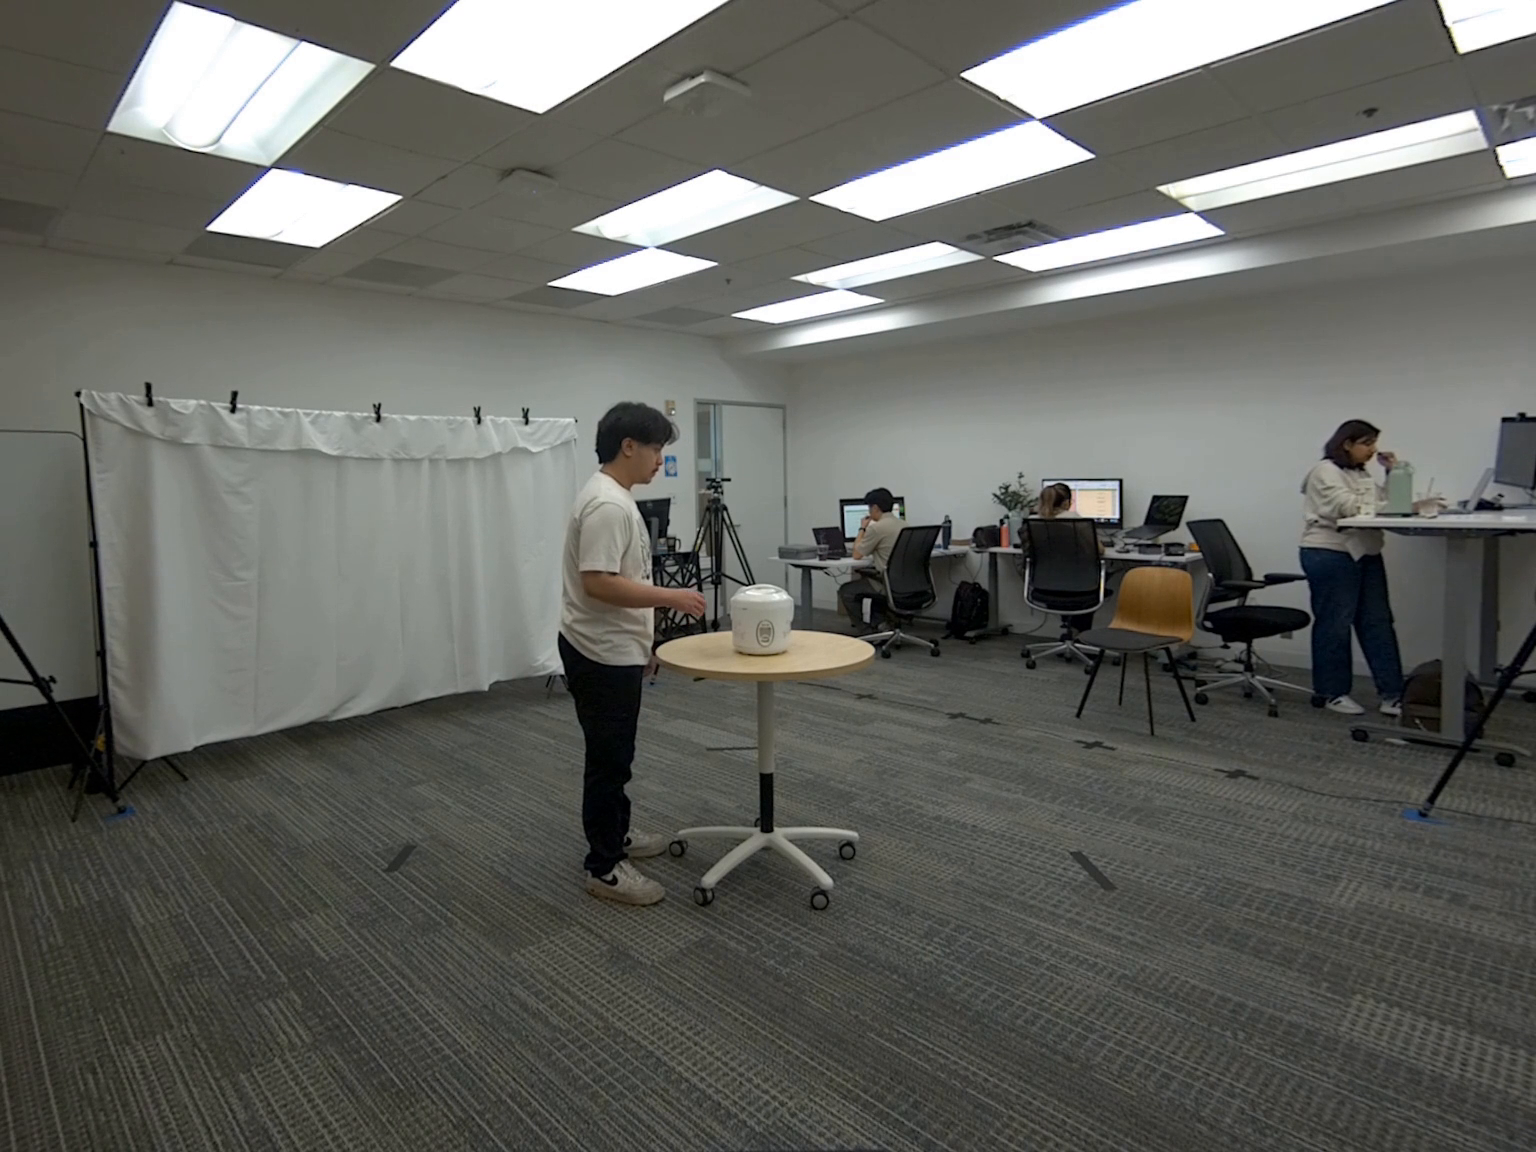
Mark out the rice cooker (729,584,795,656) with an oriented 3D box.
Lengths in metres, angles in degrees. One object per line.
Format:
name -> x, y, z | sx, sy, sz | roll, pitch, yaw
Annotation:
rice cooker -> -0.018, 0.141, 2.957 | 0.219, 0.232, 0.219 | -2, 4, -6
